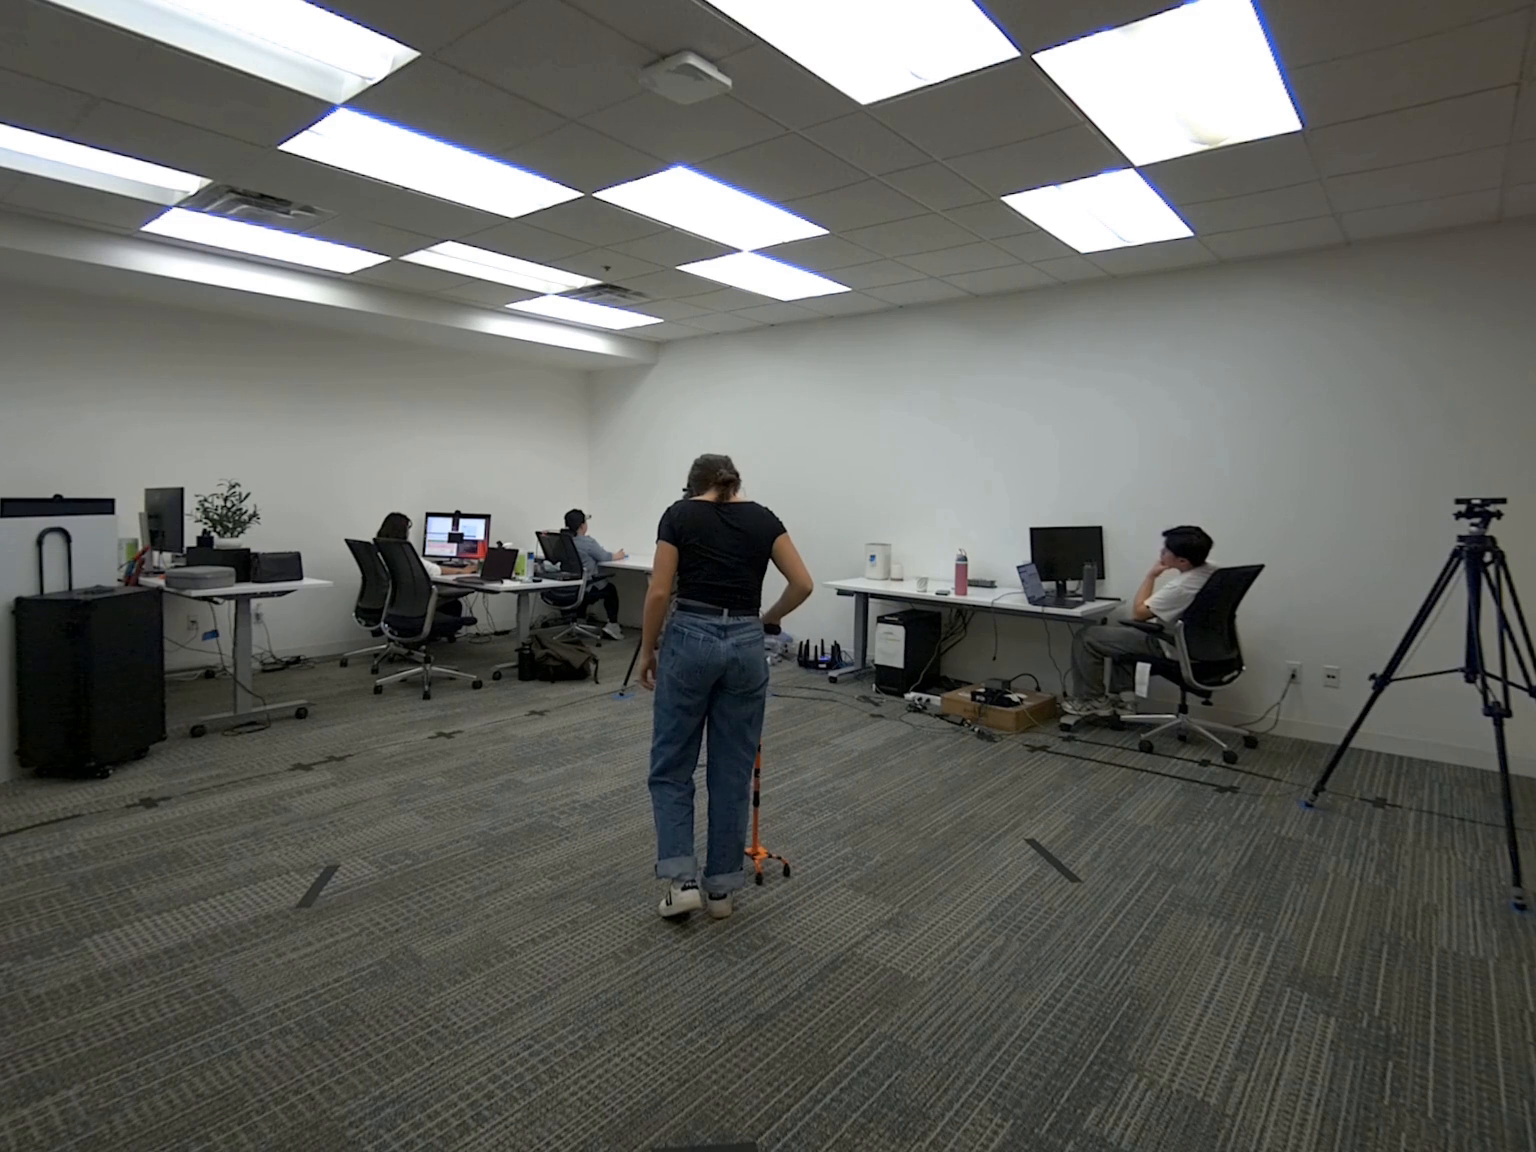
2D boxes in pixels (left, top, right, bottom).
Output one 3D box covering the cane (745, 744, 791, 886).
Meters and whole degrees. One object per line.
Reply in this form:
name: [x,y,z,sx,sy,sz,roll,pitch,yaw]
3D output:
cane: [-0.018,0.611,3.086,0.147,0.905,0.213,-1,4,-31]
